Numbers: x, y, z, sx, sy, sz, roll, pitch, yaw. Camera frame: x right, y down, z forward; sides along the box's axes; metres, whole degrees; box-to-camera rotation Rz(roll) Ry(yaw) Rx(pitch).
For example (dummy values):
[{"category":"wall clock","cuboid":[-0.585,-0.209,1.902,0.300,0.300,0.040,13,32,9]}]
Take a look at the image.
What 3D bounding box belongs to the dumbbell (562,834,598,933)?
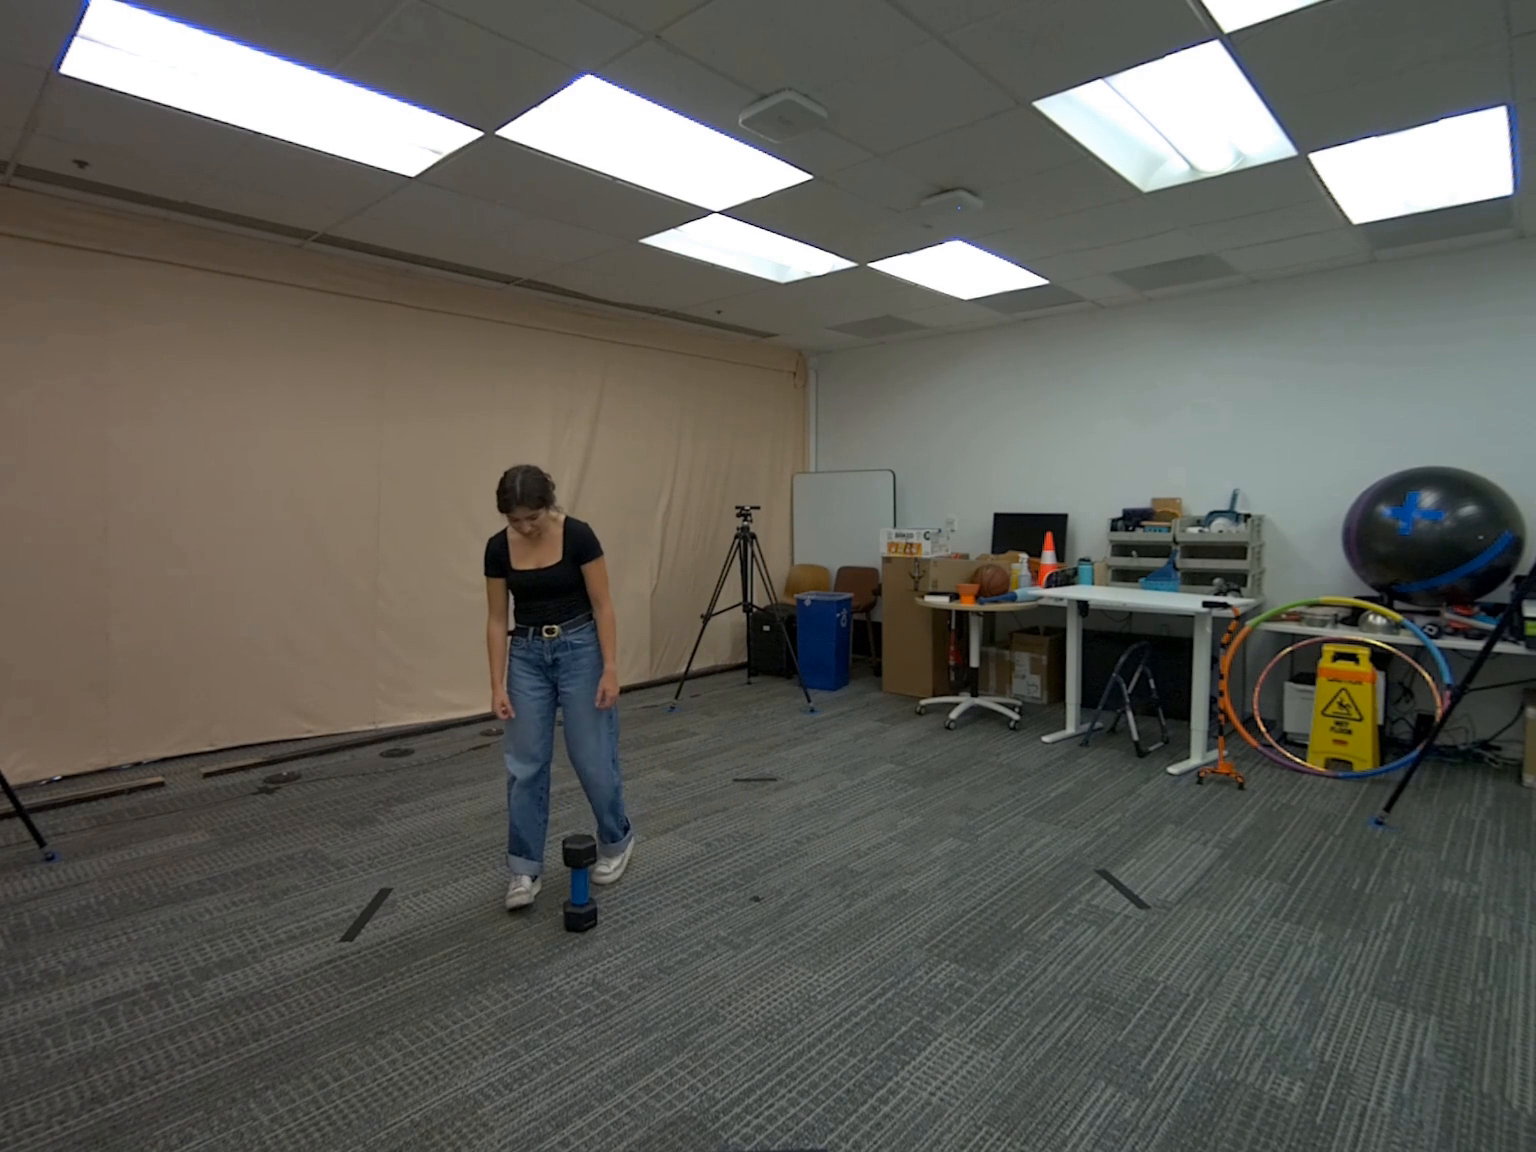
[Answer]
[{"category":"dumbbell","cuboid":[-0.625,1.017,2.796,0.107,0.293,0.125,0,2,-19]}]
